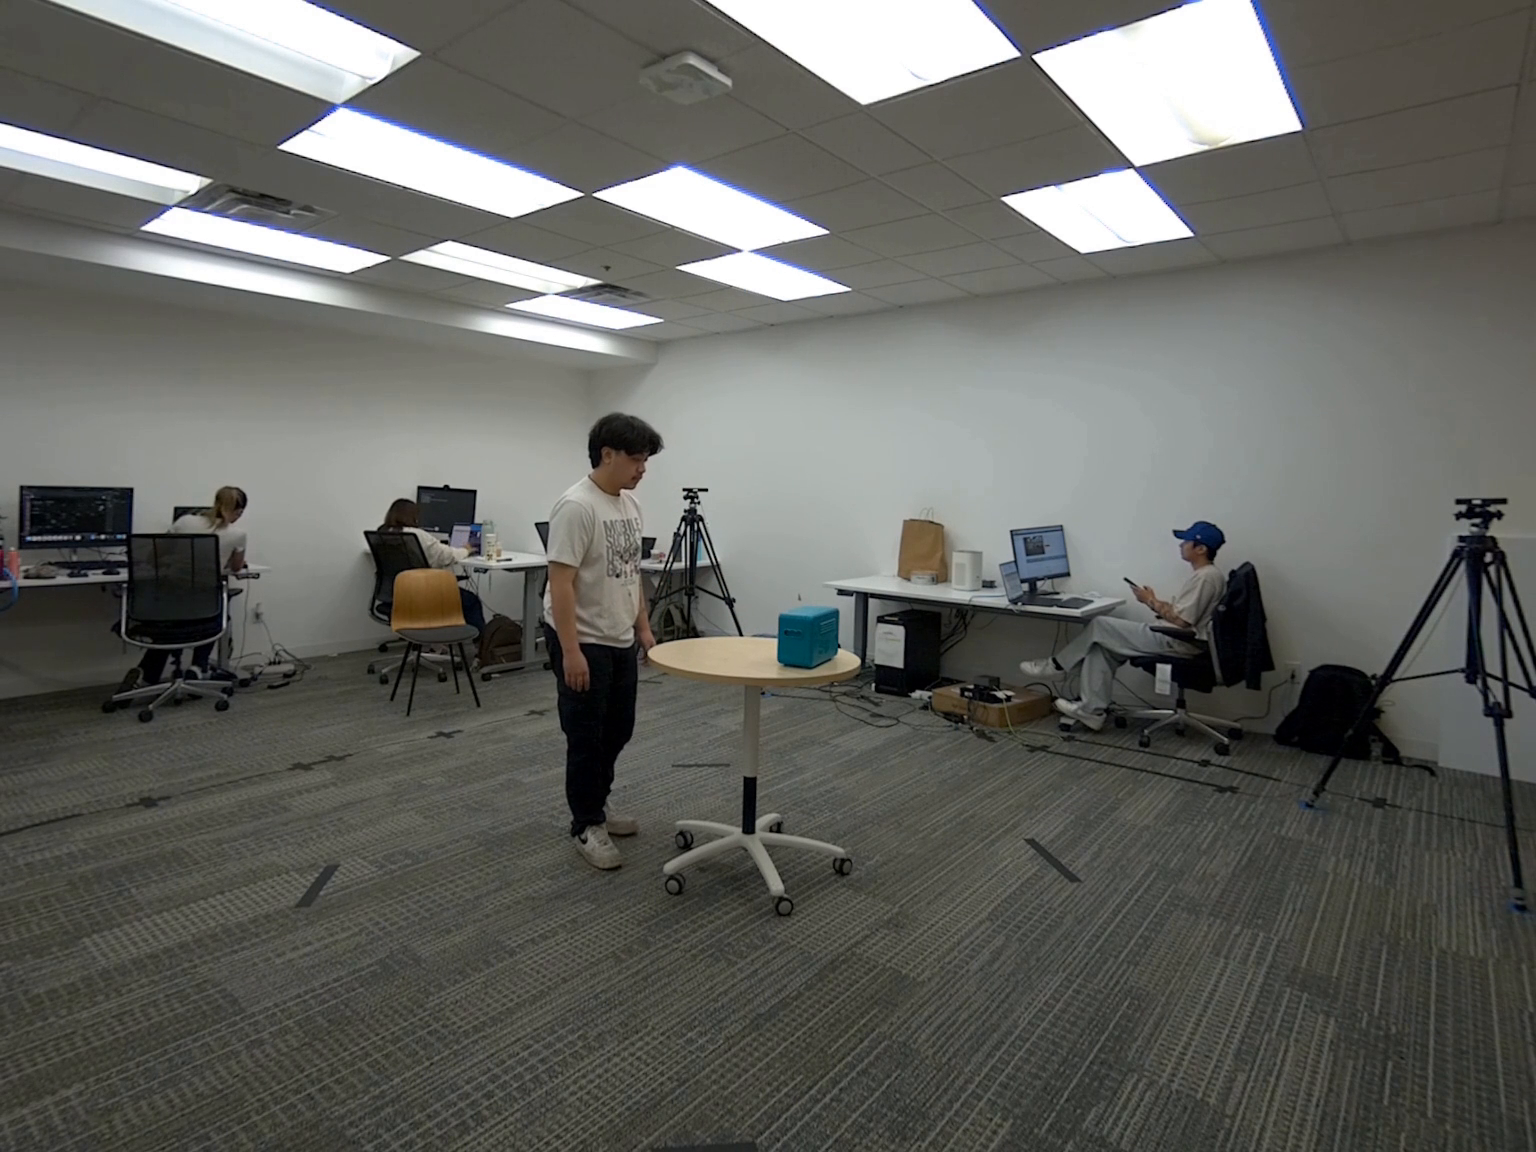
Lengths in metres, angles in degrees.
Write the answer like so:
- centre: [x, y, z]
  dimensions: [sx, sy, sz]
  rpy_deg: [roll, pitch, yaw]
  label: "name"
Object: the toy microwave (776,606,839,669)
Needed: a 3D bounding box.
- centre: [0.125, 0.206, 2.984]
  dimensions: [0.156, 0.183, 0.280]
  rpy_deg: [3, 5, 25]
  label: "toy microwave"
